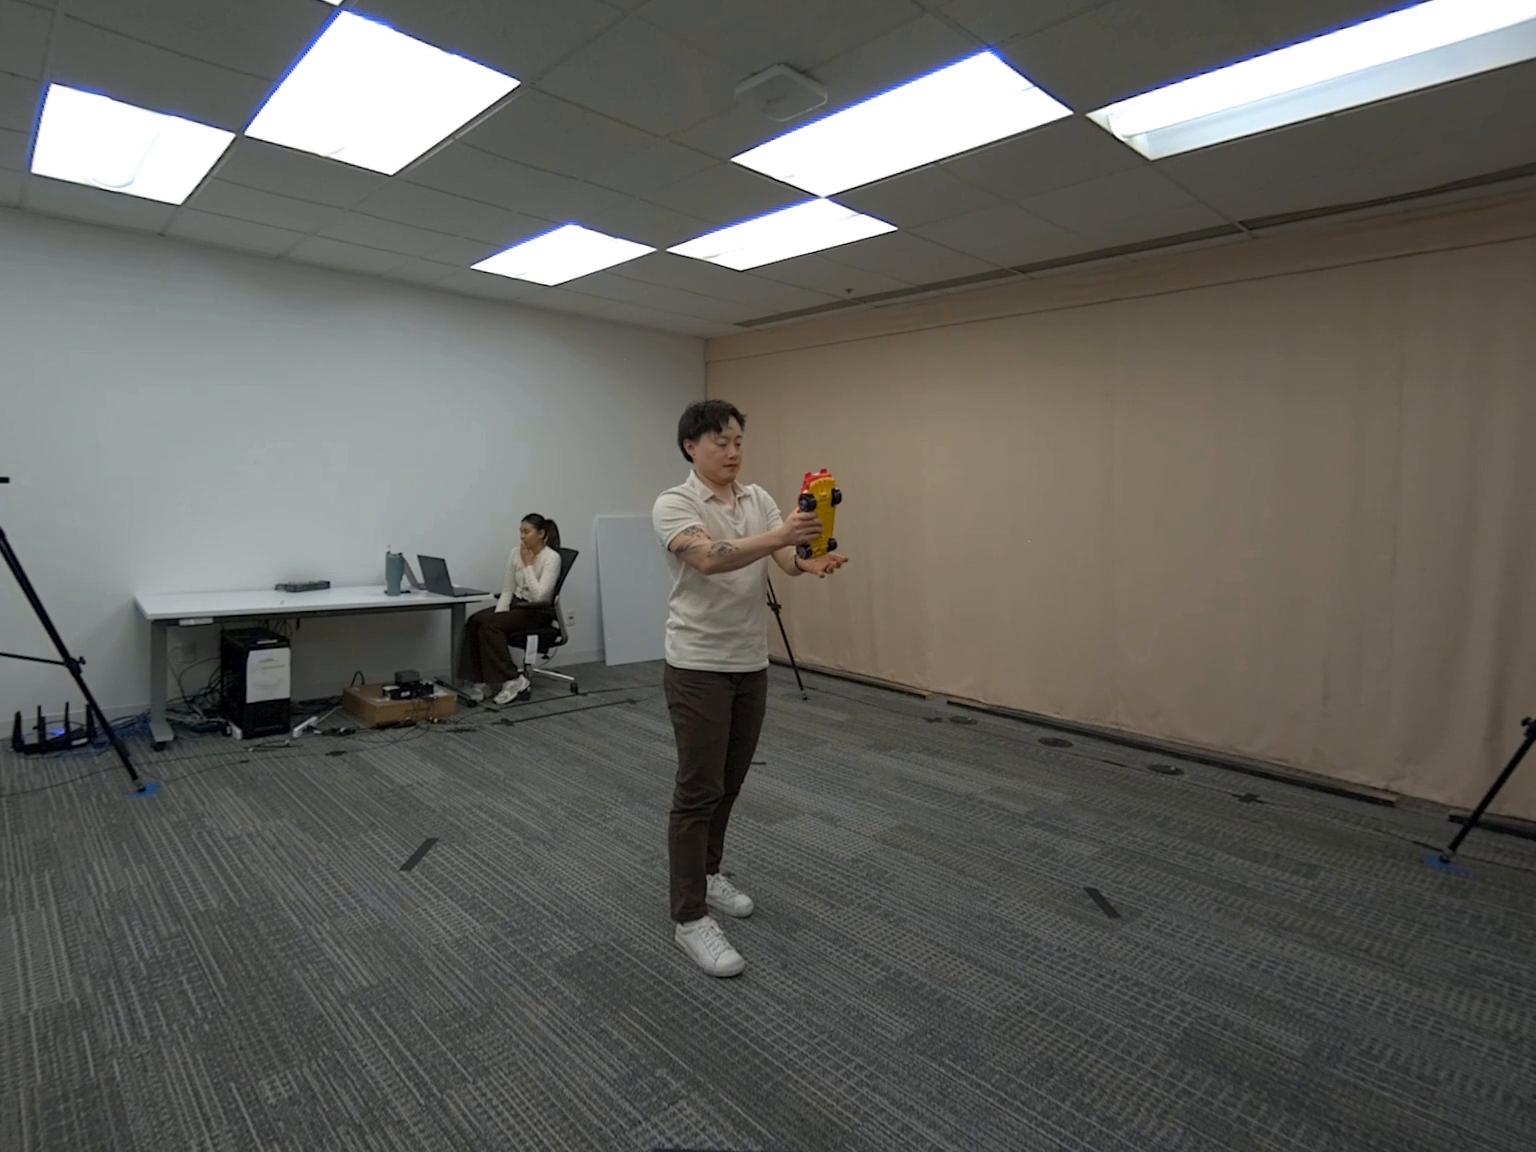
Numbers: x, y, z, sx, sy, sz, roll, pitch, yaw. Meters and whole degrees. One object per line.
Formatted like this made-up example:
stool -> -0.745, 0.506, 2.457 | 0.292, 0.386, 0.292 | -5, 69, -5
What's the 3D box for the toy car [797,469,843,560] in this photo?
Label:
toy car -> 0.126, -0.161, 2.289 | 0.128, 0.251, 0.085 | -14, 21, -29
